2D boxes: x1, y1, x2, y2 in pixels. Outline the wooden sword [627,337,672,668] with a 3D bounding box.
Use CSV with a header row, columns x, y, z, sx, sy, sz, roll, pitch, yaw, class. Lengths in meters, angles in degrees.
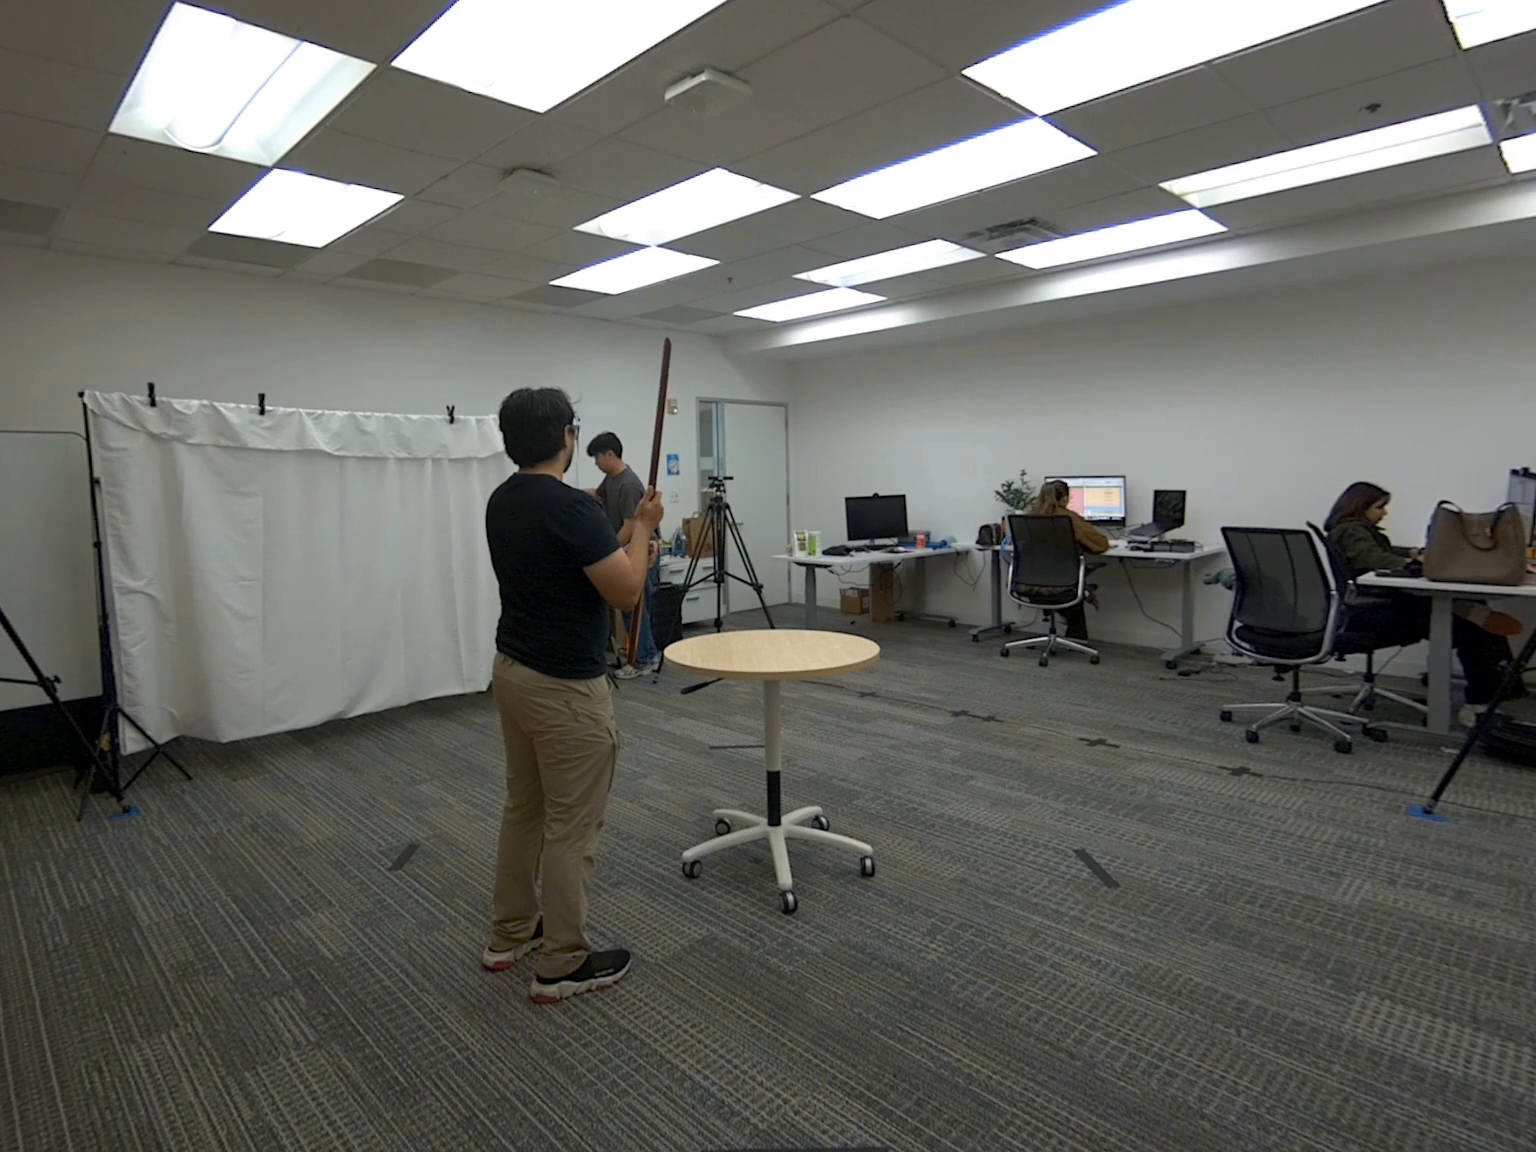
x,y,z,sx,sy,sz,roll,pitch,yaw,class
-0.357,-0.175,2.493,0.051,1.009,0.024,11,23,0,wooden sword
